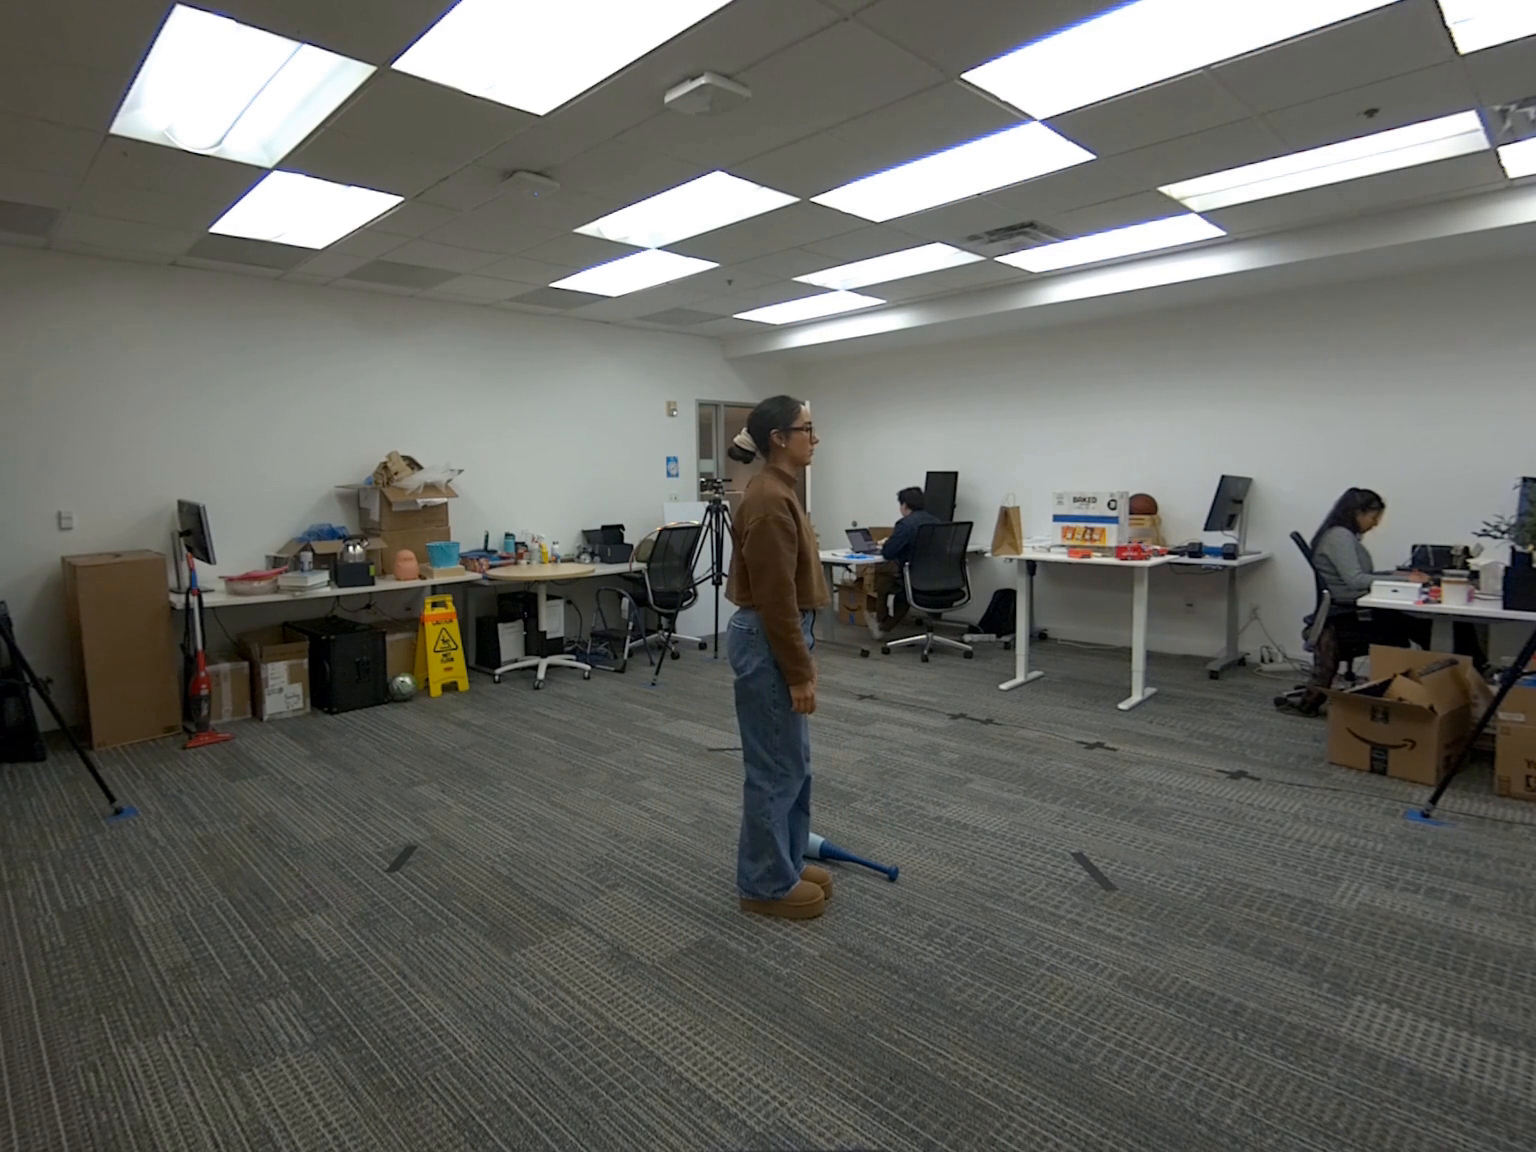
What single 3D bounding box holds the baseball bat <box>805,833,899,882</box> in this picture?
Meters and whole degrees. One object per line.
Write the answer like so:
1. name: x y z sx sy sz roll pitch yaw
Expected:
1. baseball bat: 0.223 1.003 3.114 0.559 0.088 0.087 7 9 35
